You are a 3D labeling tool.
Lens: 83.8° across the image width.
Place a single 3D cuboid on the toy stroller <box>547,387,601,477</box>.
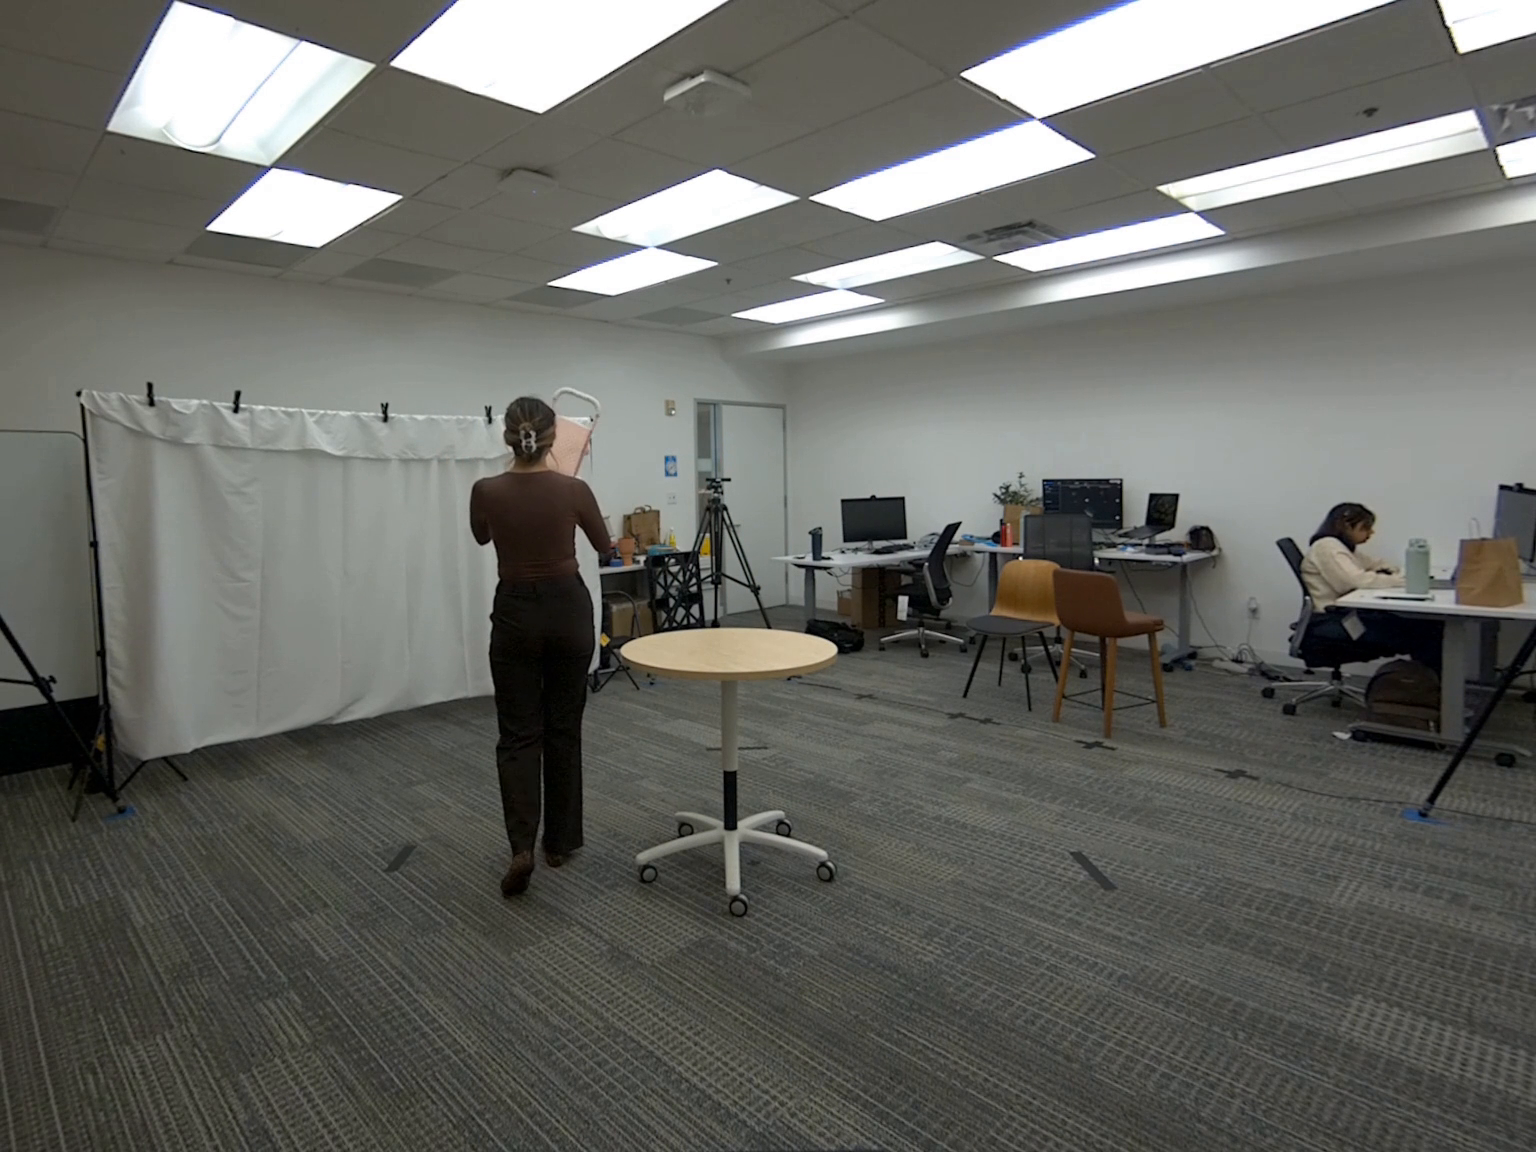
[{"bbox_3d":[-0.889,-0.471,3.570,0.279,0.544,0.338,18,-30,-8],"label":"toy stroller"}]
